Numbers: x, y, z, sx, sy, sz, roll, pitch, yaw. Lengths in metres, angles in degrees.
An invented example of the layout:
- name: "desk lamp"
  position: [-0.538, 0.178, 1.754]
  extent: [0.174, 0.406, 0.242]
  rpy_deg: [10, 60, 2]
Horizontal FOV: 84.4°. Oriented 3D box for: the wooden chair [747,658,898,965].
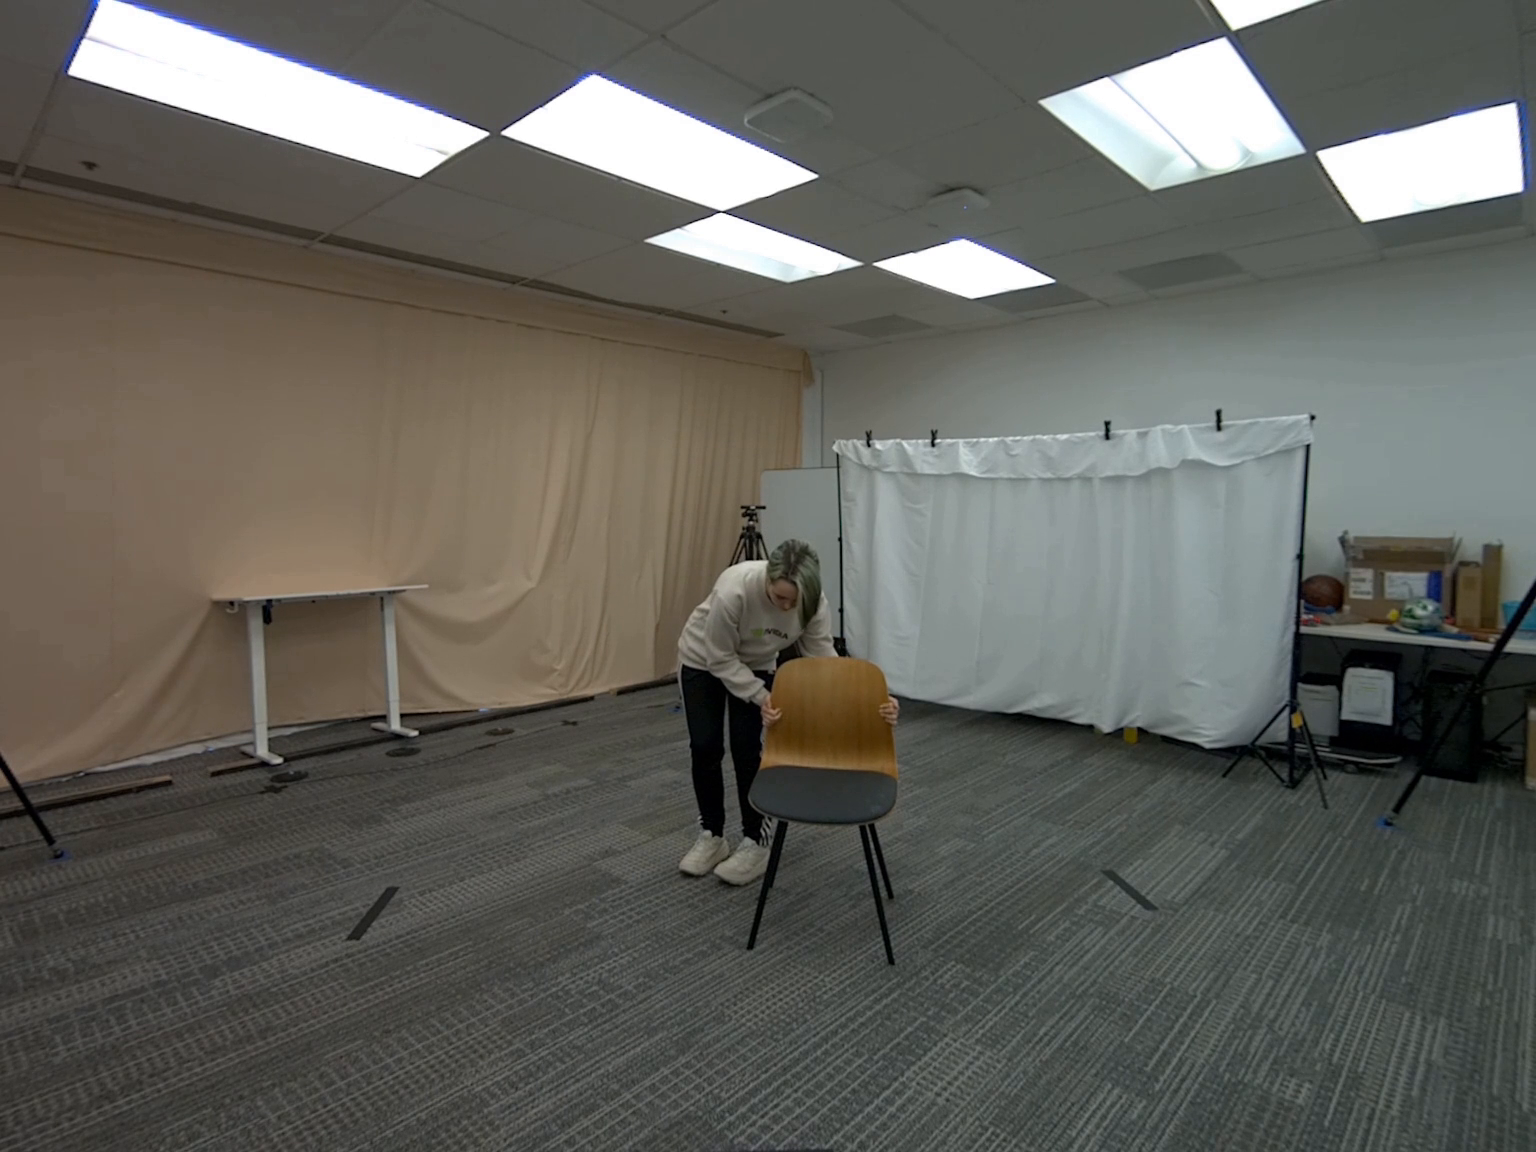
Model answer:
- name: "wooden chair"
  position: [0.201, 0.733, 2.772]
  extent: [0.484, 0.877, 0.516]
  rpy_deg: [1, 0, 11]
